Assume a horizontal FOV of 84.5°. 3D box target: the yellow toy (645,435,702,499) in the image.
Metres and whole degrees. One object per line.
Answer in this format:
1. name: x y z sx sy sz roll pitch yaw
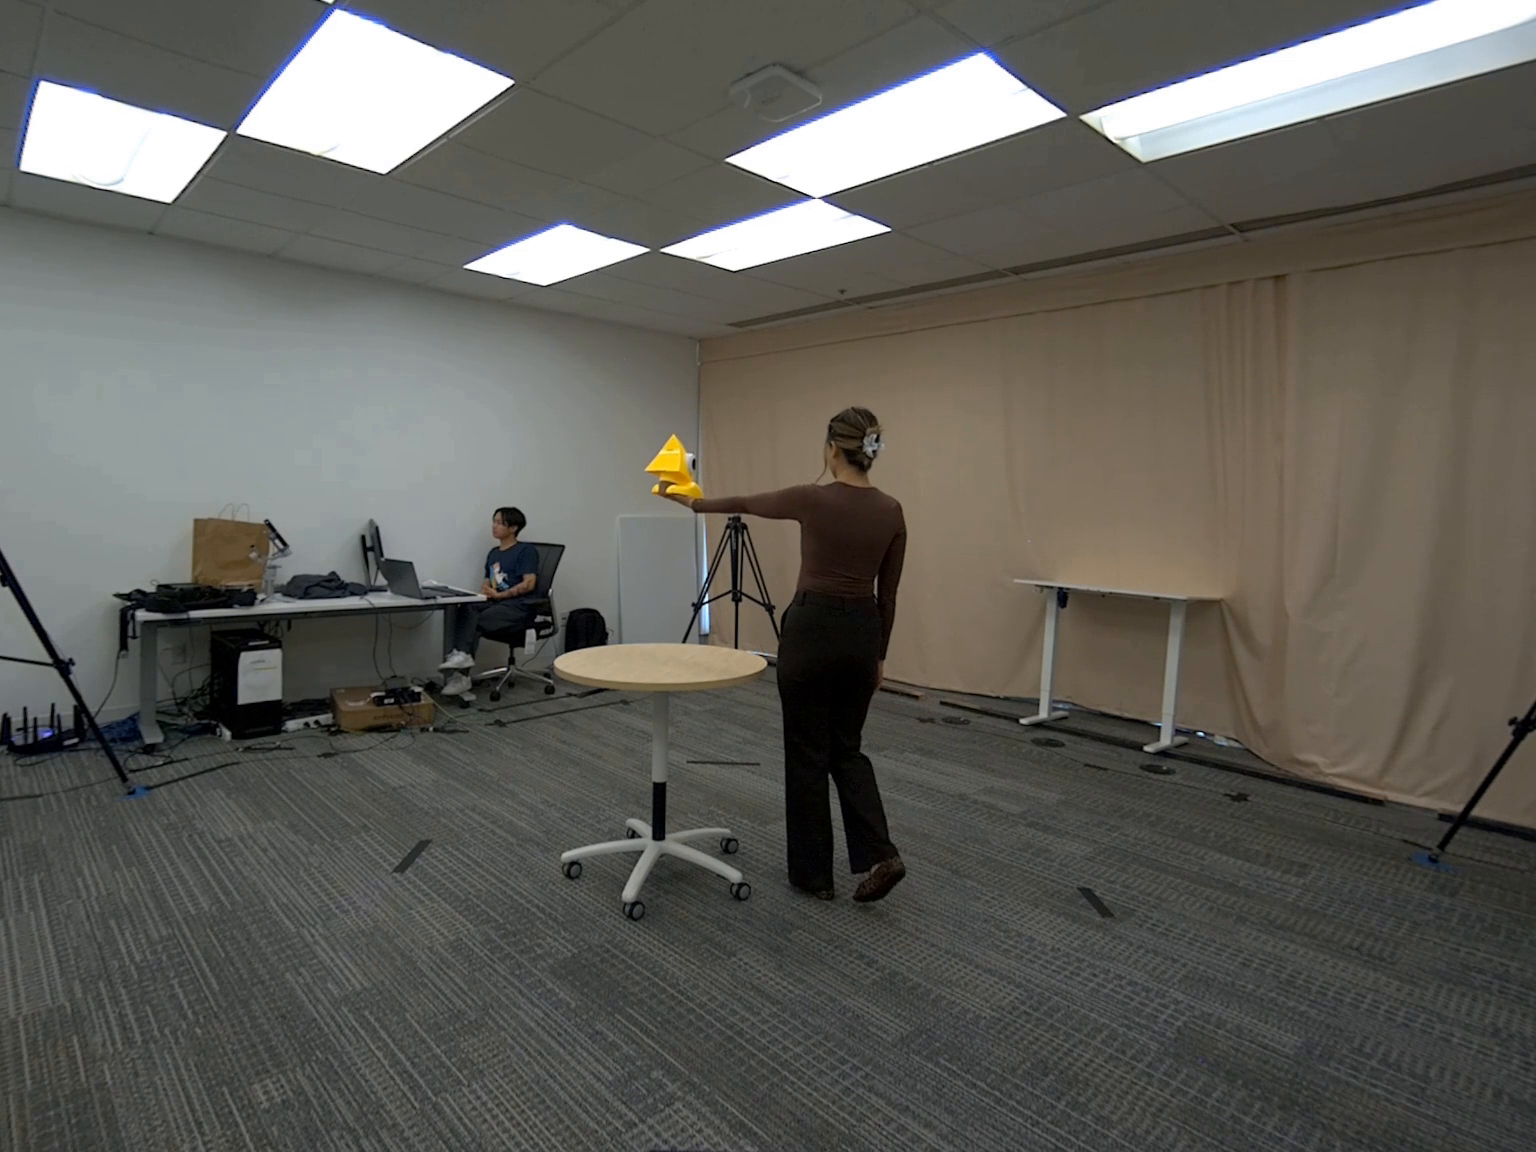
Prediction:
1. yellow toy: -0.349 -0.426 3.291 0.210 0.231 0.187 6 -5 44
